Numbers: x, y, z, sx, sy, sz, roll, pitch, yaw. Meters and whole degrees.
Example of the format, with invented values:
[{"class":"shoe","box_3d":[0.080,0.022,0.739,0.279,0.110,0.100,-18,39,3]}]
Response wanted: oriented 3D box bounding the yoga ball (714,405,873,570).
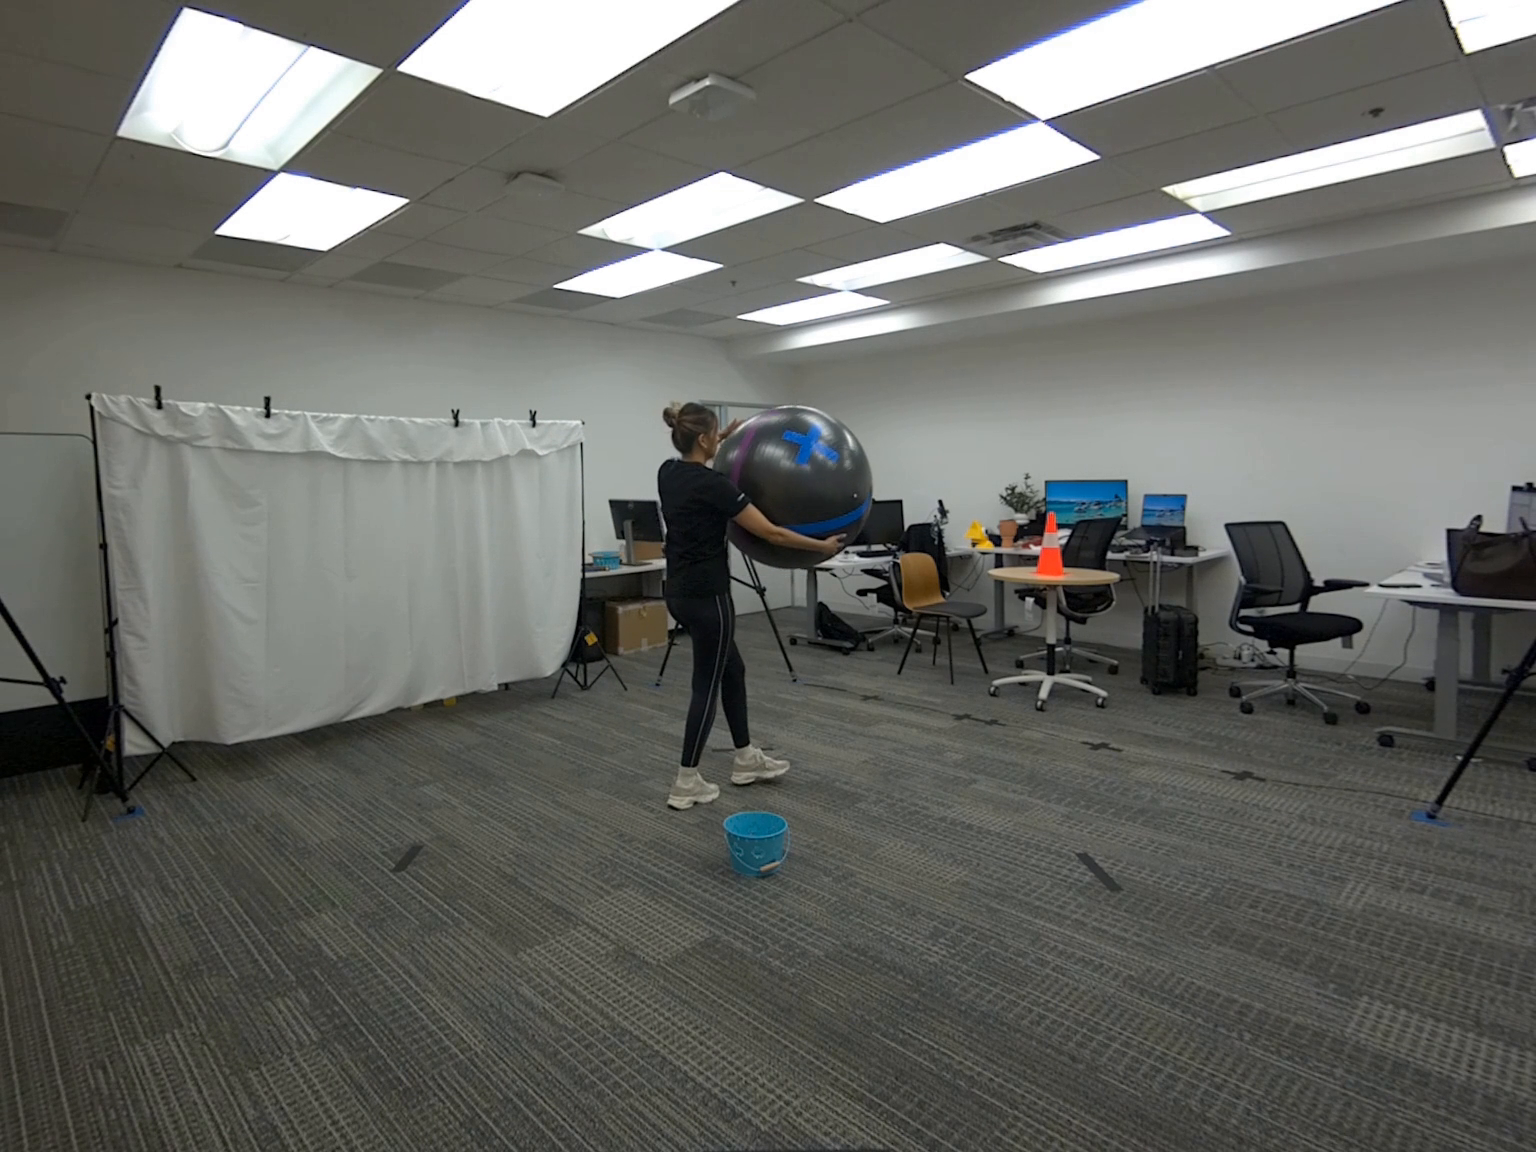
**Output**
[{"class":"yoga ball","box_3d":[0.106,-0.407,3.994,0.757,0.755,0.762,-1,5,-2]}]
